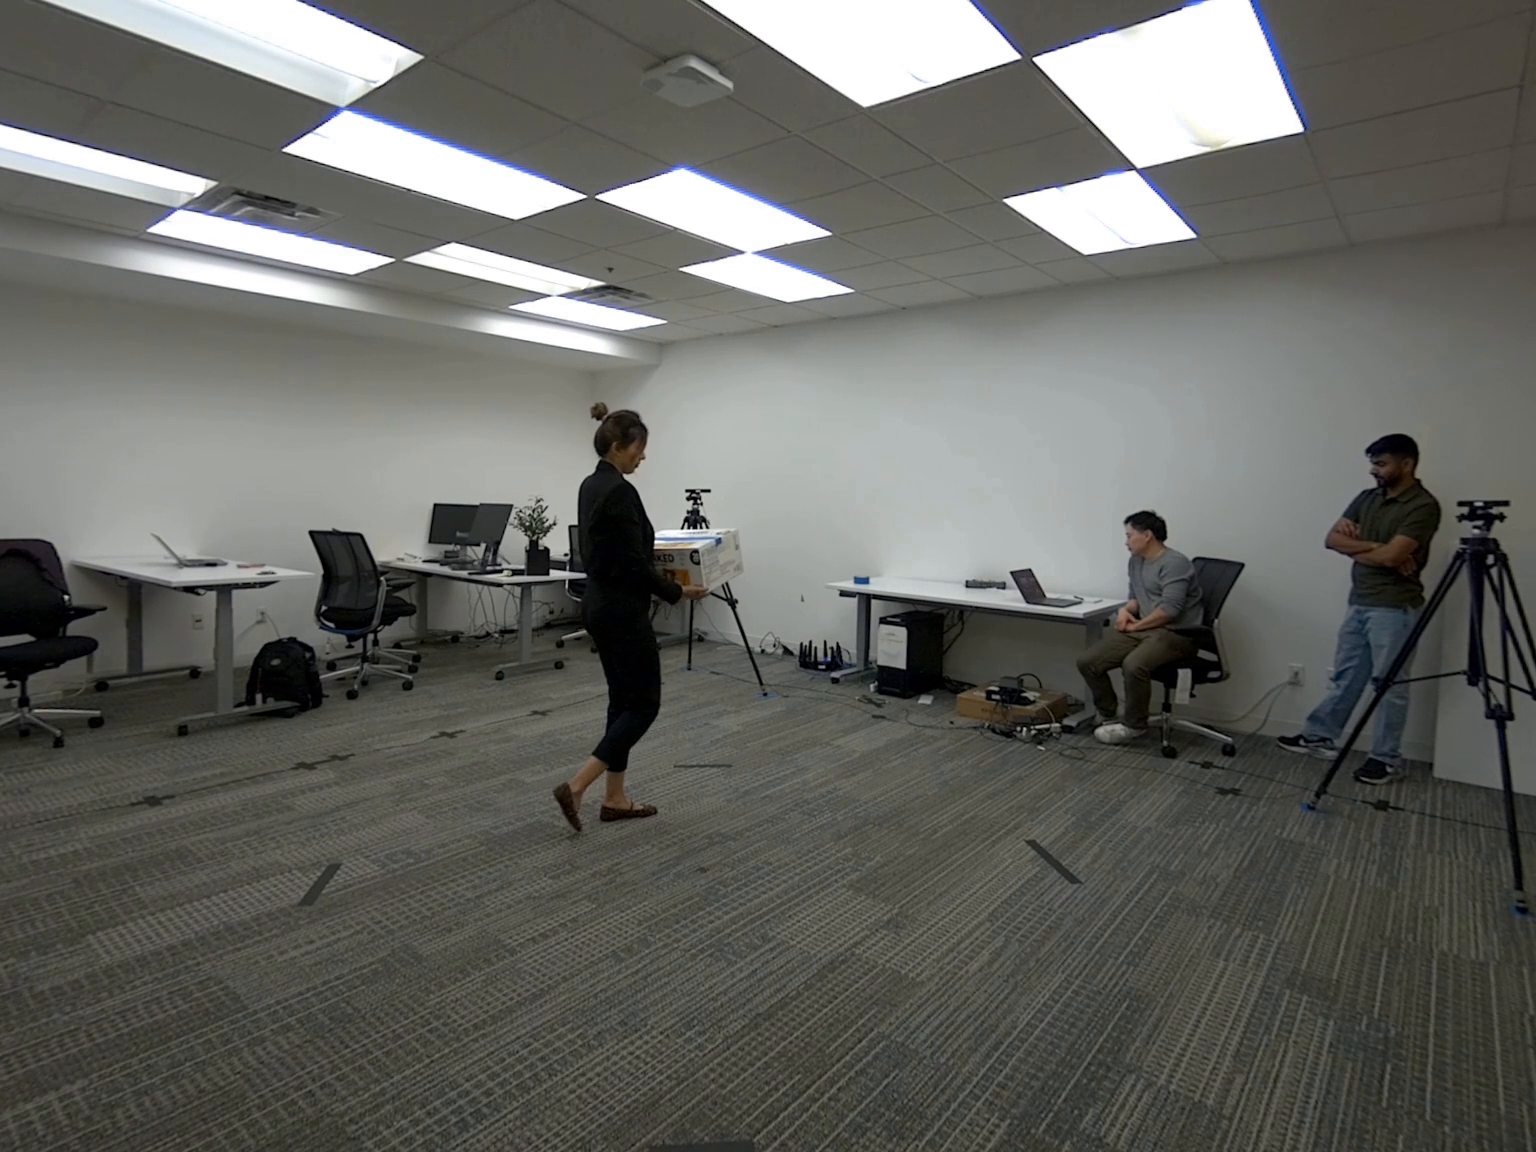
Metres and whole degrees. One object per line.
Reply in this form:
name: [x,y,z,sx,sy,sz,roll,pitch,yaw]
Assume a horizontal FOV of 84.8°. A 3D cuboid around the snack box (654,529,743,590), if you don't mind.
snack box: [-0.384,-0.068,3.734,0.416,0.203,0.336,1,16,29]
